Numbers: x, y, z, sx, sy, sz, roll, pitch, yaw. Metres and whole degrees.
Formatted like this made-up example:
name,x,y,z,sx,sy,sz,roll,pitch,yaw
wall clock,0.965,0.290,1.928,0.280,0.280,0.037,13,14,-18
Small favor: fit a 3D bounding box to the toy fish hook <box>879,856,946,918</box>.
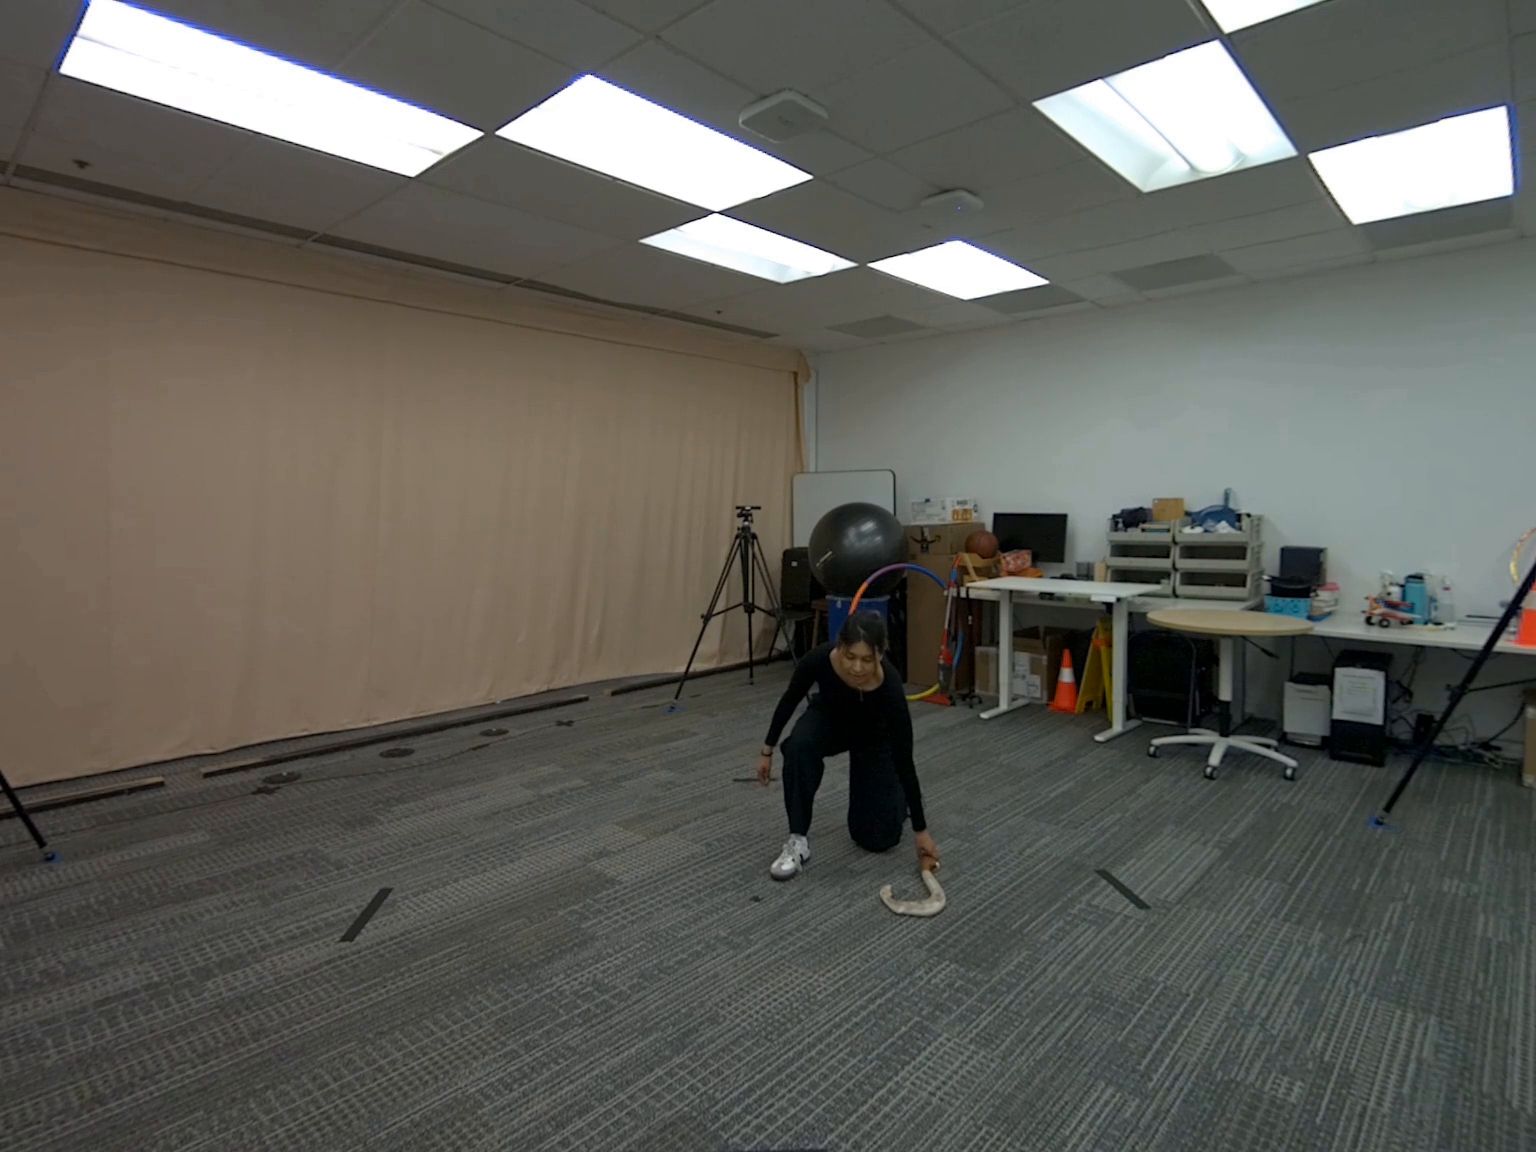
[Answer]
name,x,y,z,sx,sy,sz,roll,pitch,yaw
toy fish hook,0.528,1.104,3.082,0.227,0.048,0.502,2,5,10
